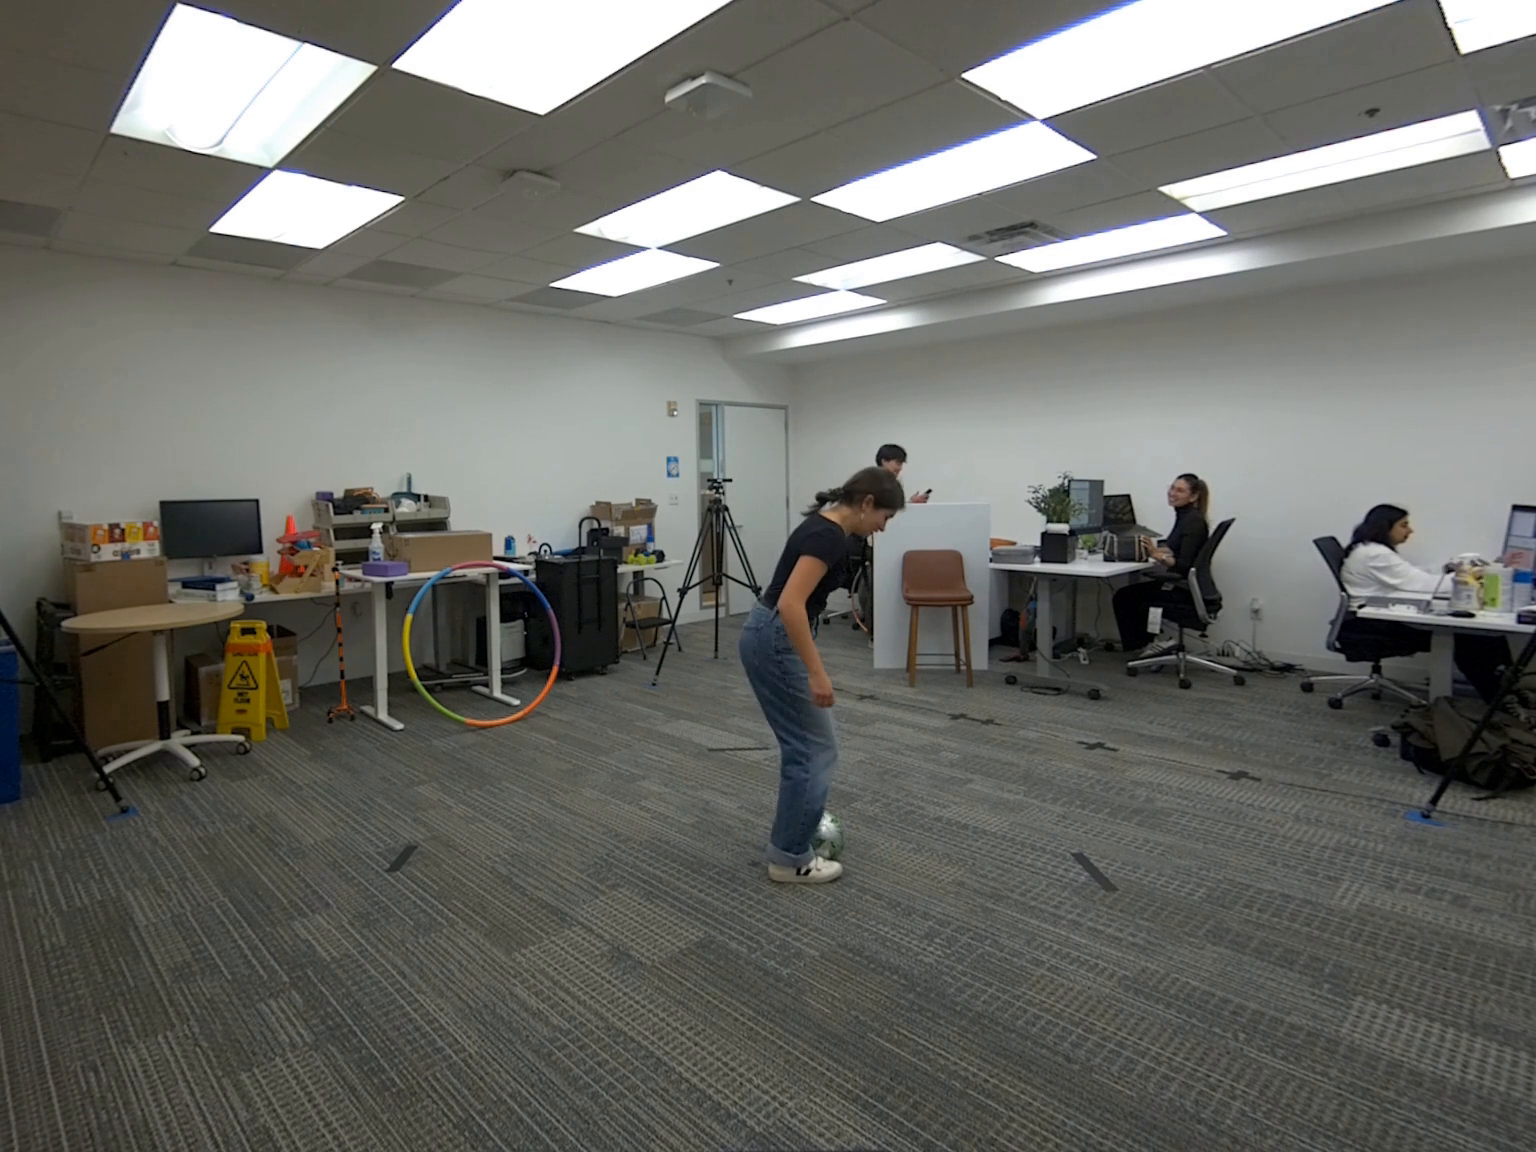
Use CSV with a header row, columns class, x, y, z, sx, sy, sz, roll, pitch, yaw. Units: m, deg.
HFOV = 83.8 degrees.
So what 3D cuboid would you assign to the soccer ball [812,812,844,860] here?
class,x,y,z,sx,sy,sz,roll,pitch,yaw
soccer ball,0.191,0.955,3.116,0.187,0.187,0.188,-1,5,-2
